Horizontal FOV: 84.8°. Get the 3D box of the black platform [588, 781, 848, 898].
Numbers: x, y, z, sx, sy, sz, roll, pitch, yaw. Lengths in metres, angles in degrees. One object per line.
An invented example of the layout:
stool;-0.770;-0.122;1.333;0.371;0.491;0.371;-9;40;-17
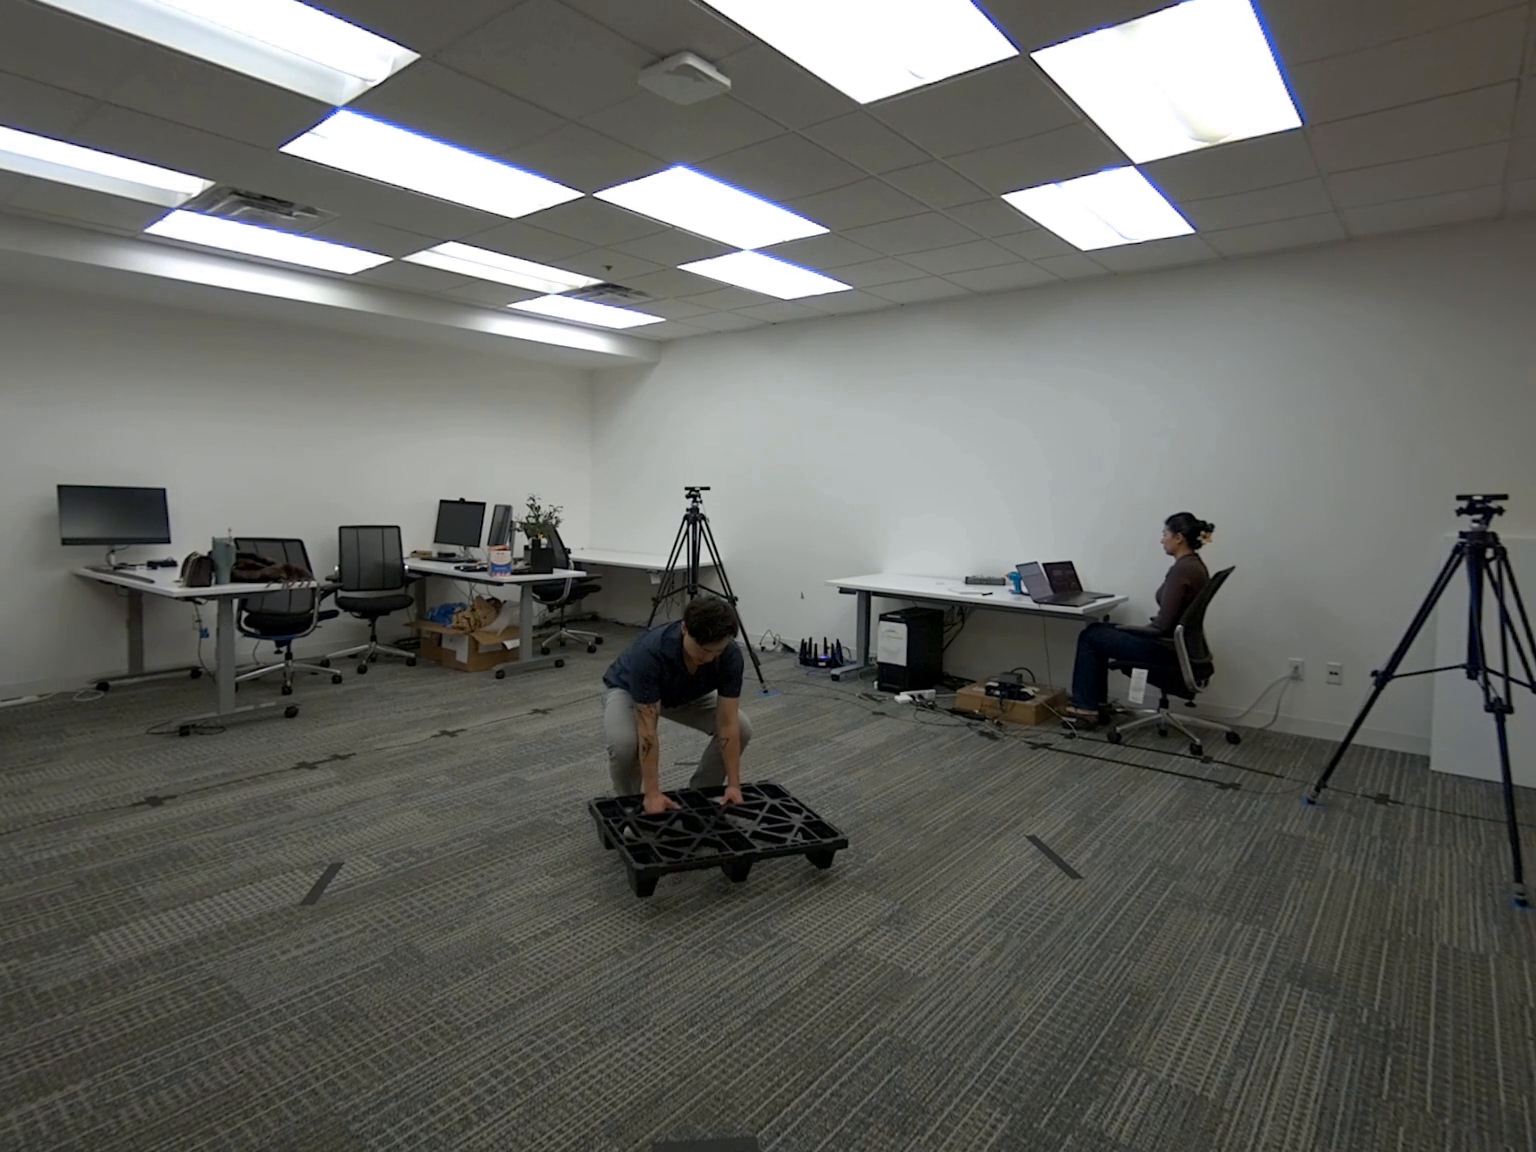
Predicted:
black platform;-0.204;0.944;3.119;0.786;0.142;0.623;0;8;-25
